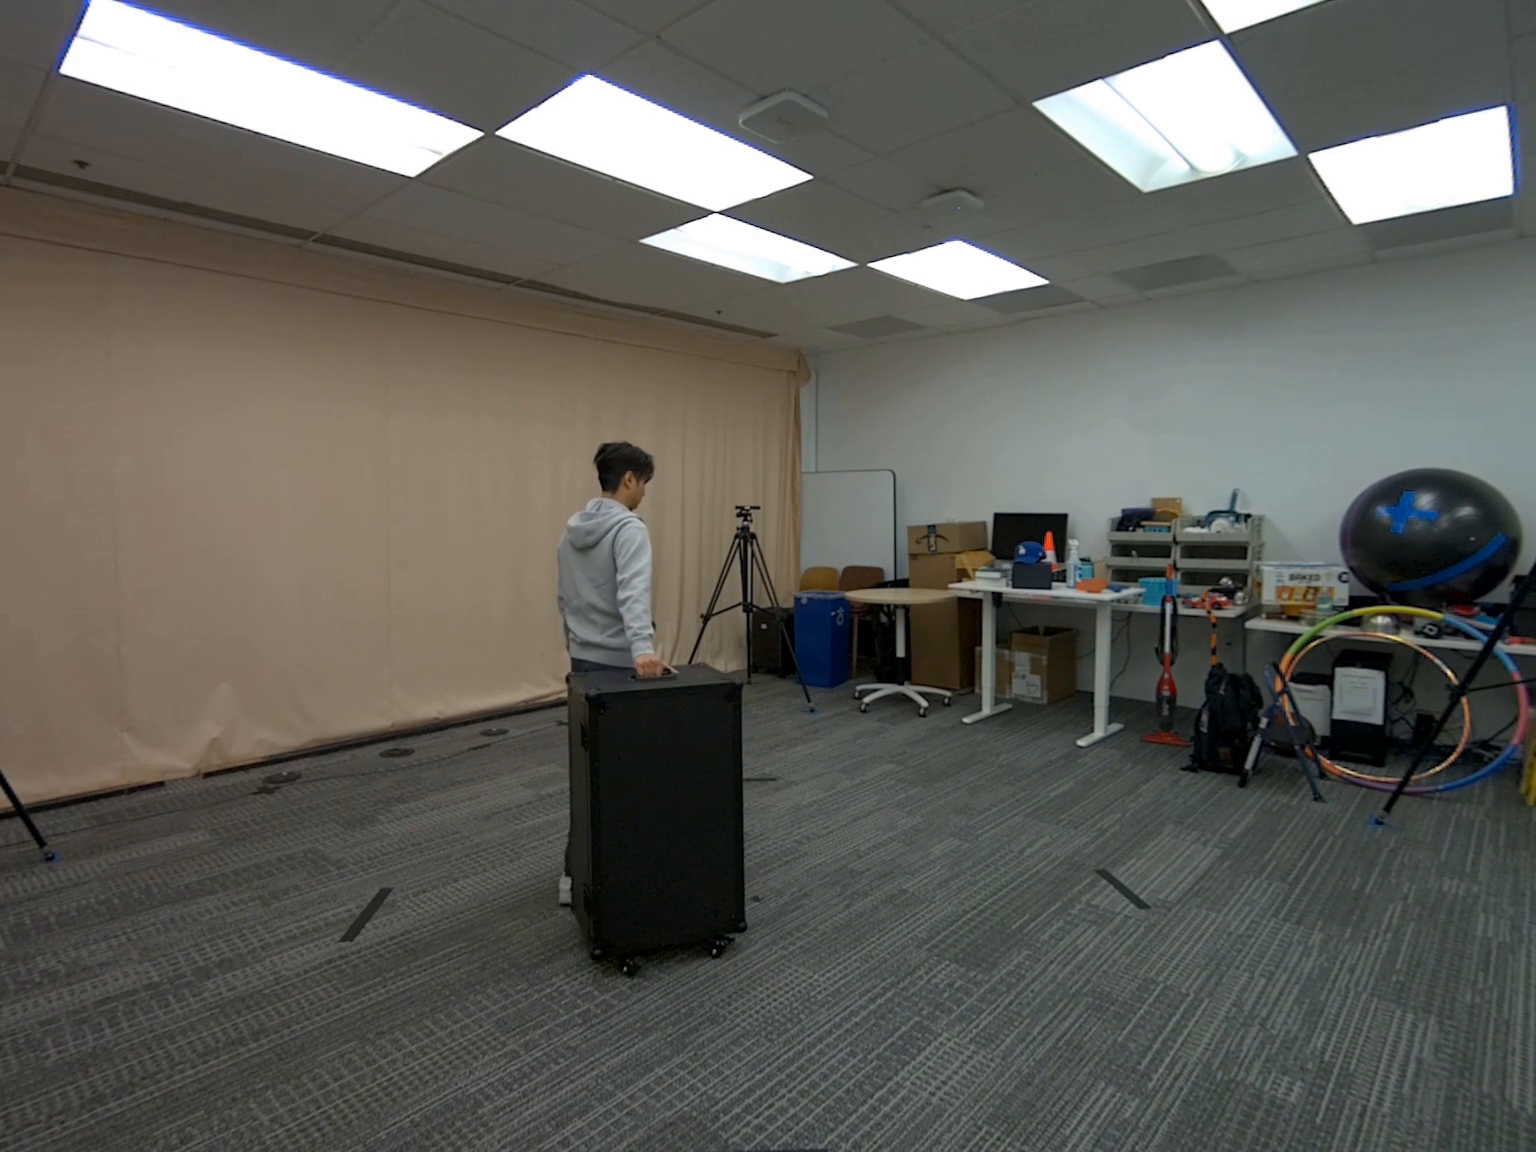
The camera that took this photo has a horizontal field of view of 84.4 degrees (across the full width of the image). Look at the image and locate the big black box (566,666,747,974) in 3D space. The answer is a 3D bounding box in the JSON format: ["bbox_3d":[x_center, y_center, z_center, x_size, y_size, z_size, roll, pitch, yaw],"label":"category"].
[{"bbox_3d":[-0.369,0.747,2.691,0.511,0.861,0.405,-2,1,-21],"label":"big black box"}]
